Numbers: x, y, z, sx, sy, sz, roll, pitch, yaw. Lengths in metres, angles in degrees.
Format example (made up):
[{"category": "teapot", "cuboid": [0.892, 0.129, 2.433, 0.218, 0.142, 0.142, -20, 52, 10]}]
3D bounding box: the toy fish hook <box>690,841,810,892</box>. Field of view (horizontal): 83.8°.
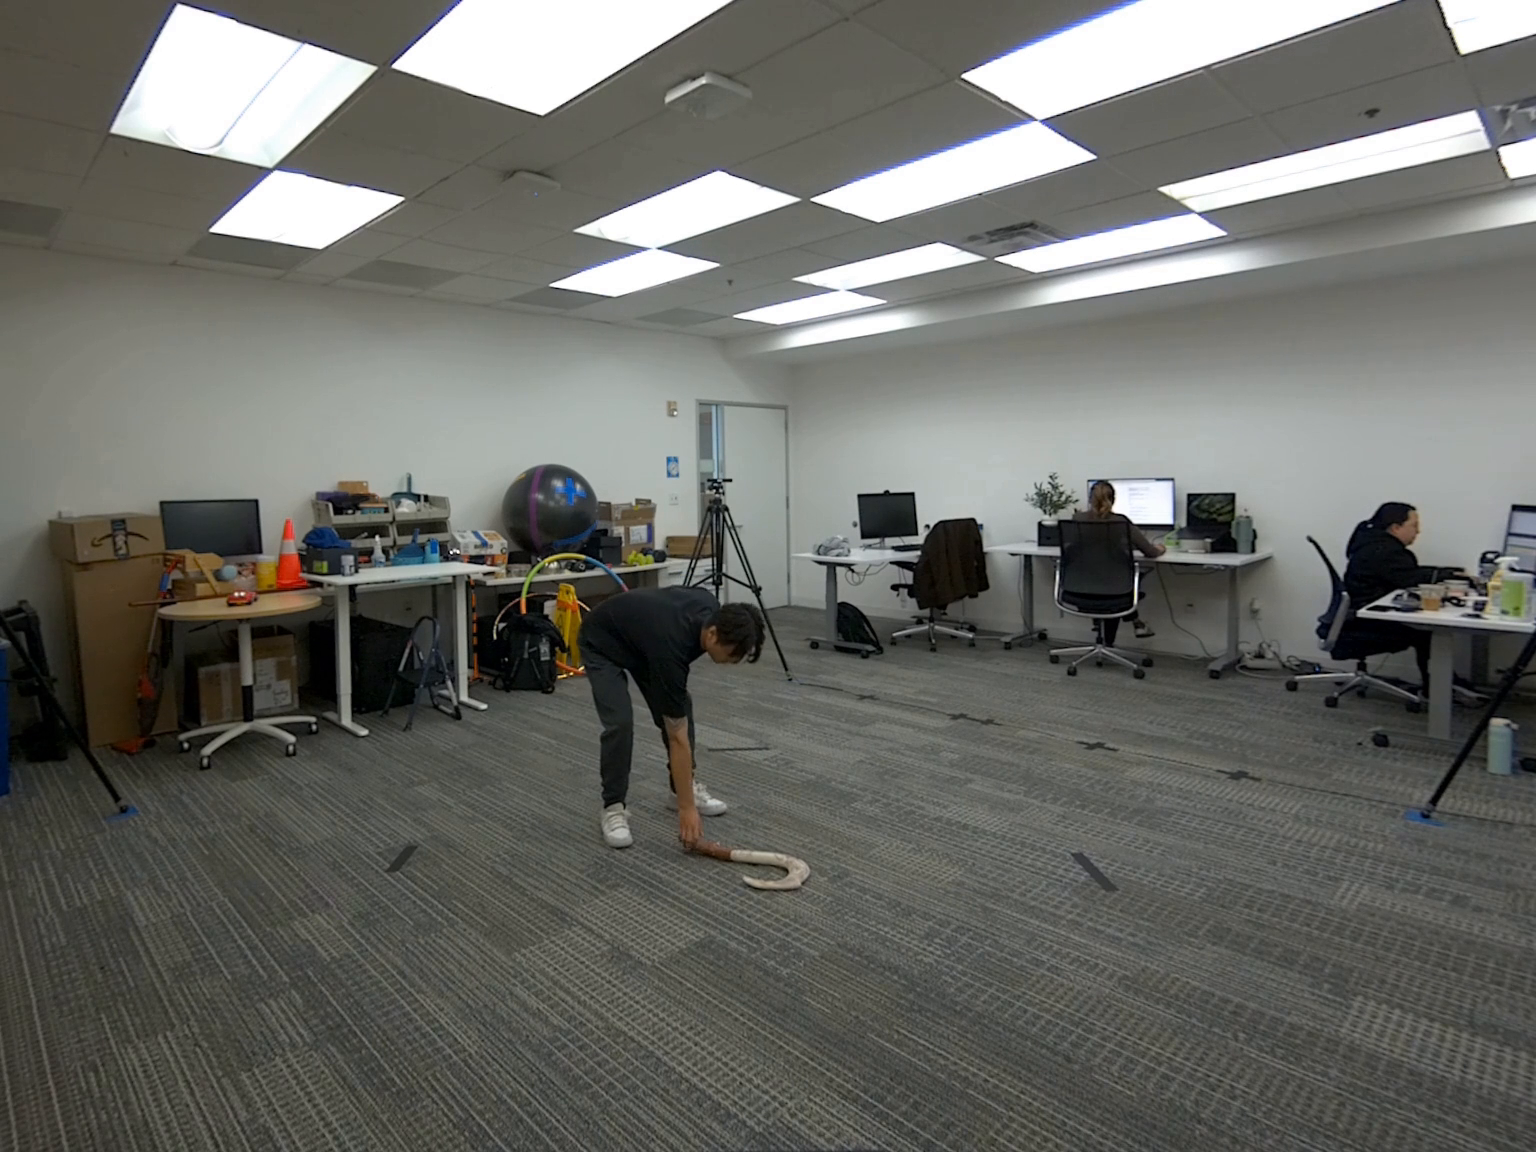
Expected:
[{"category": "toy fish hook", "cuboid": [-0.100, 1.028, 3.057, 0.519, 0.048, 0.220, 2, 6, 27]}]
